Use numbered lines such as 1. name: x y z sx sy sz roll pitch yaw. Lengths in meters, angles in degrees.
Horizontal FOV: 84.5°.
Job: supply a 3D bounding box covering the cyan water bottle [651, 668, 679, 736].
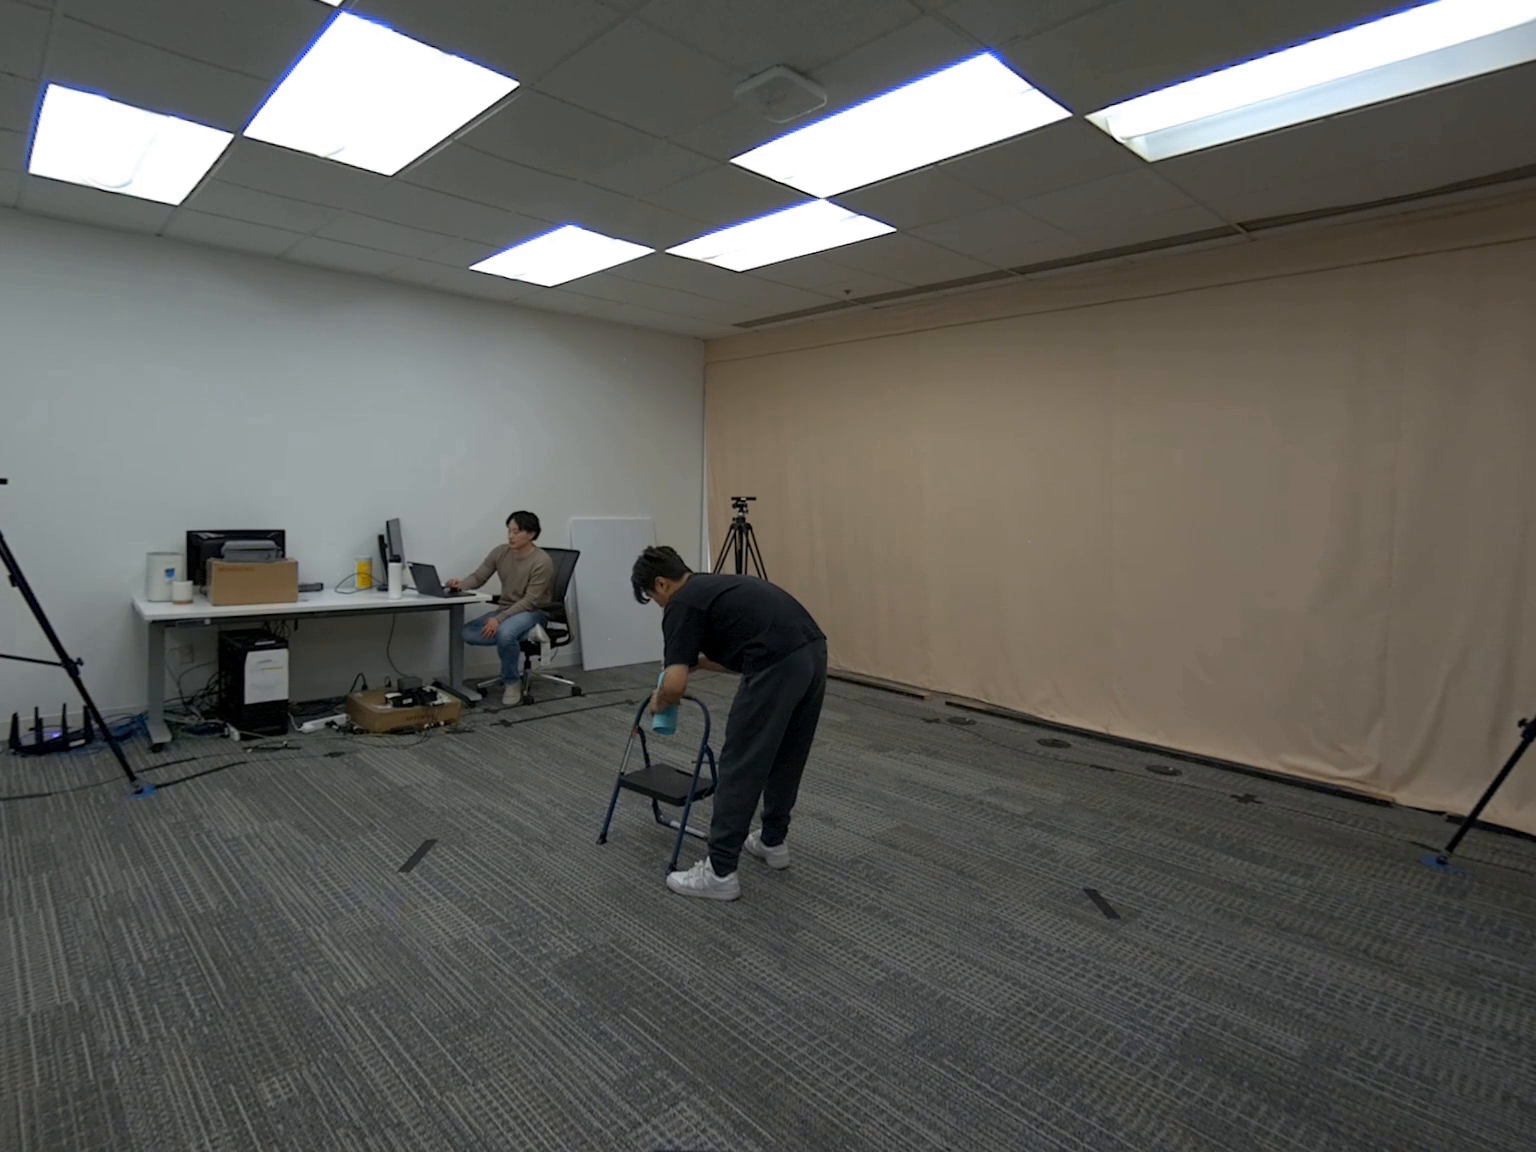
1. cyan water bottle: -0.390 0.460 3.236 0.092 0.289 0.090 1 -32 -1
